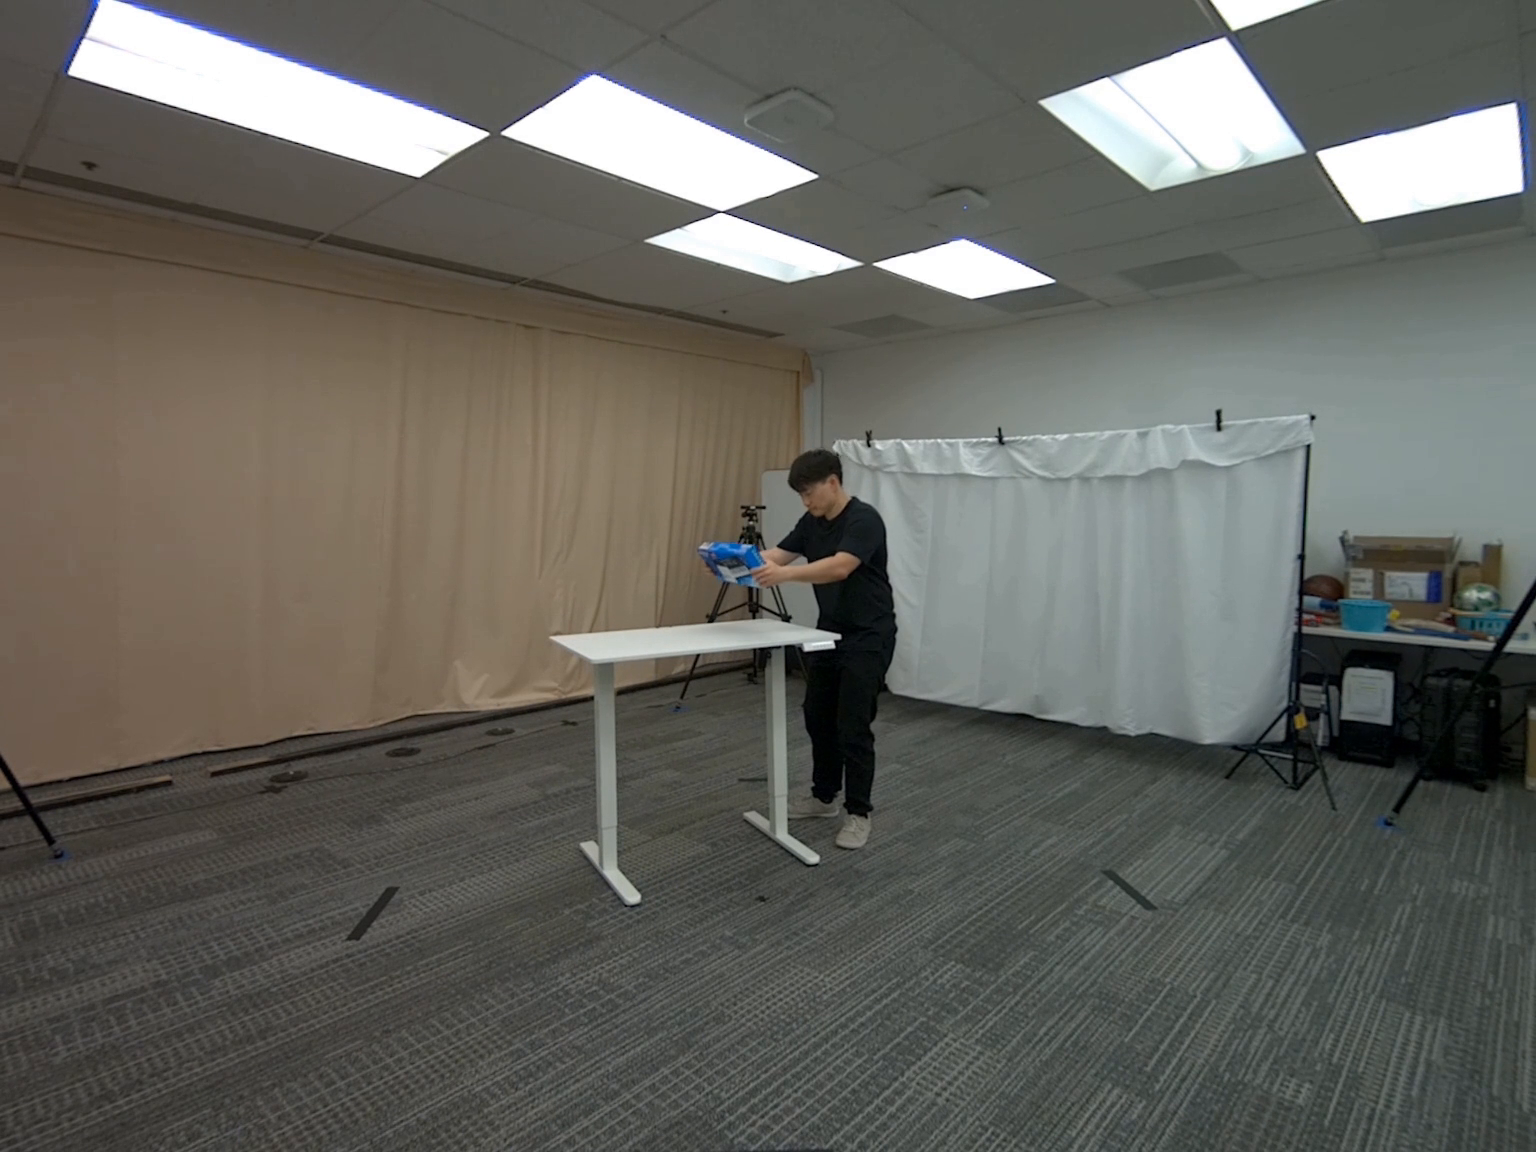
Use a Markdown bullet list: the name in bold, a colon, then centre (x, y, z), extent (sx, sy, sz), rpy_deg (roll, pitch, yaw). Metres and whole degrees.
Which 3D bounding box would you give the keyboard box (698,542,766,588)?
- **keyboard box**: centre (-0.127, -0.045, 3.371), extent (0.058, 0.172, 0.449), rpy_deg (-39, 21, -20)
